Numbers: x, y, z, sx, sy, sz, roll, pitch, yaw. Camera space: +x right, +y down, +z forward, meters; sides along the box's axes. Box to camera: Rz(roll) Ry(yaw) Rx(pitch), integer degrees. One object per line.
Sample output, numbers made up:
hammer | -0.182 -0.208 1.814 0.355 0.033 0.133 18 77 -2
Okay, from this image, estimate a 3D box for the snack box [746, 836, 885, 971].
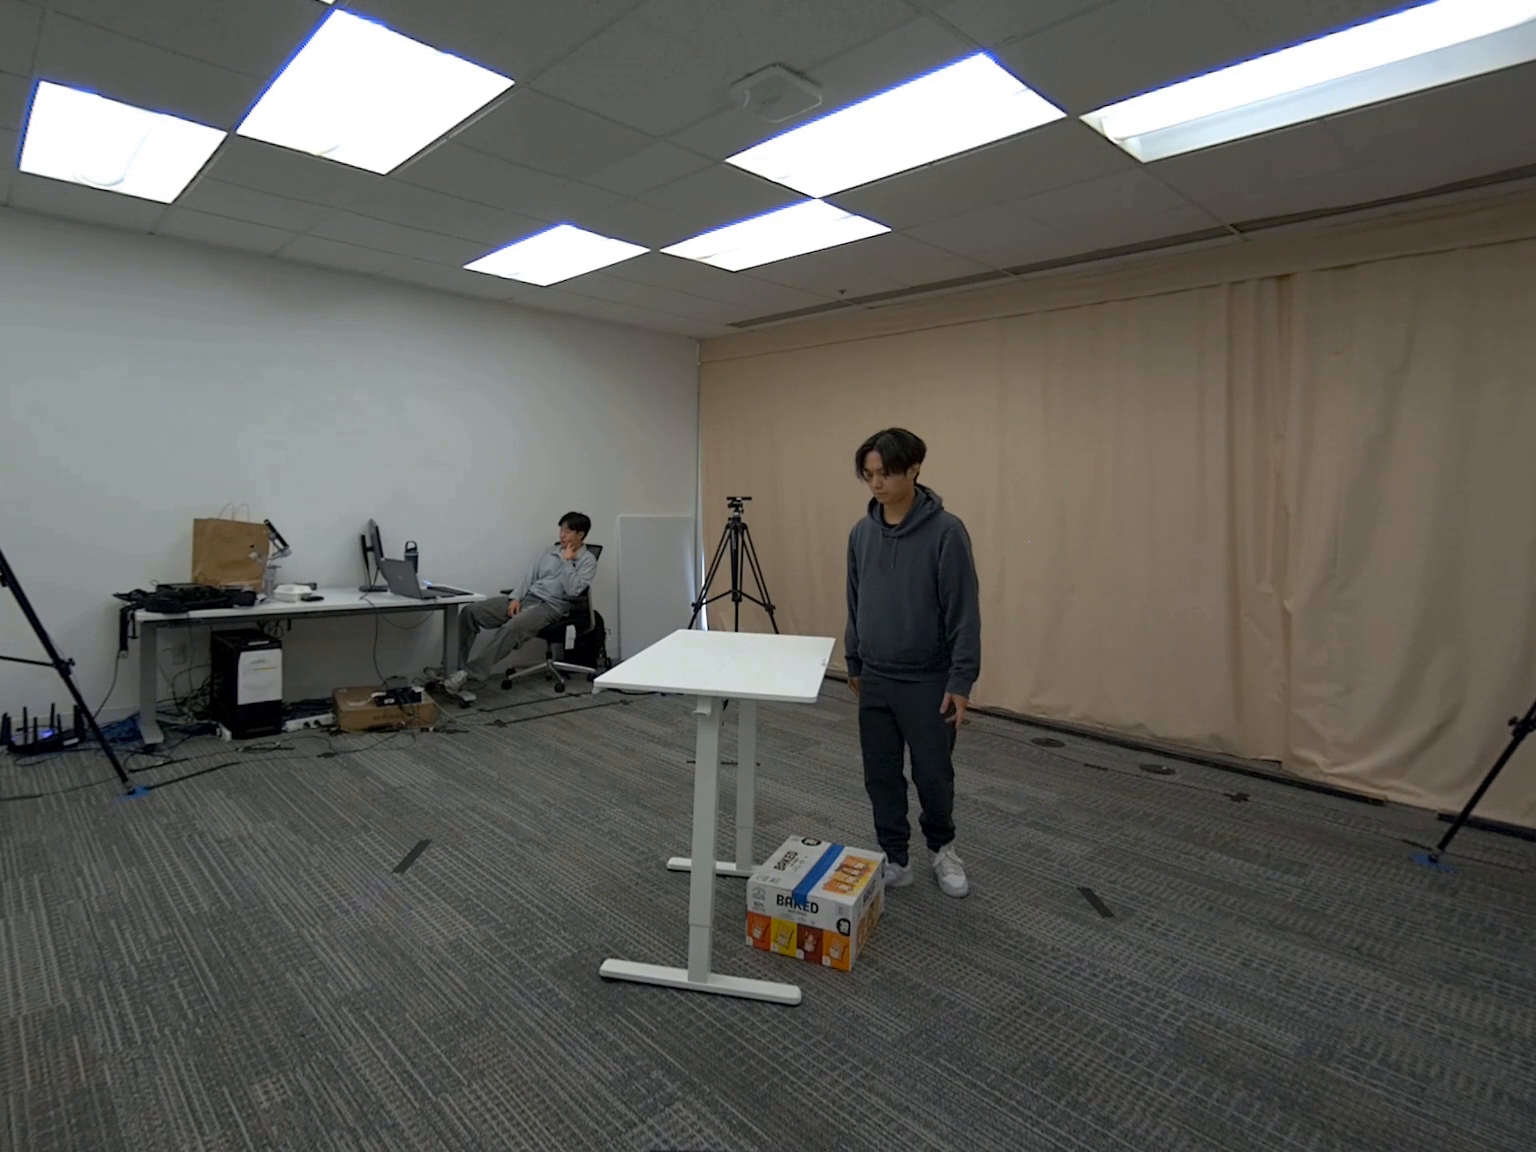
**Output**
snack box | 0.160 1.045 2.727 0.346 0.205 0.399 4 5 23
